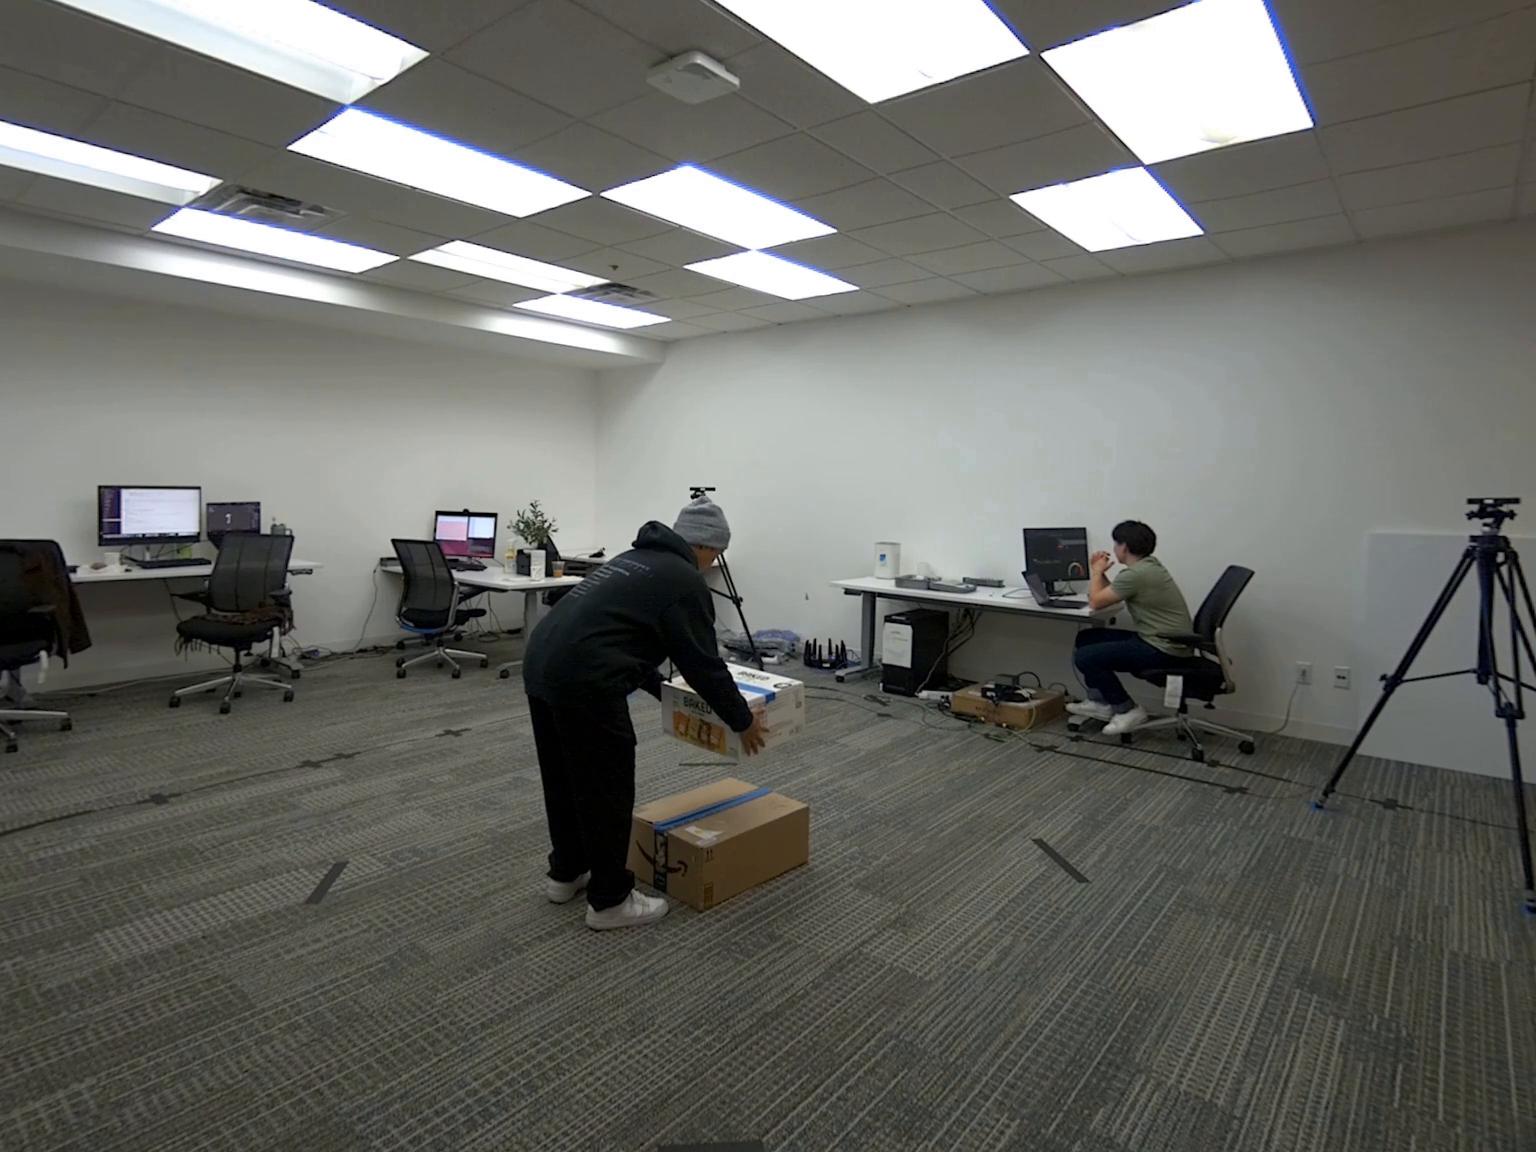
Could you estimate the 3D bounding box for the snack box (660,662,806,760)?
[{"bbox_3d":[-0.140,0.485,3.119,0.419,0.204,0.331,8,14,44],"label":"snack box"}]
